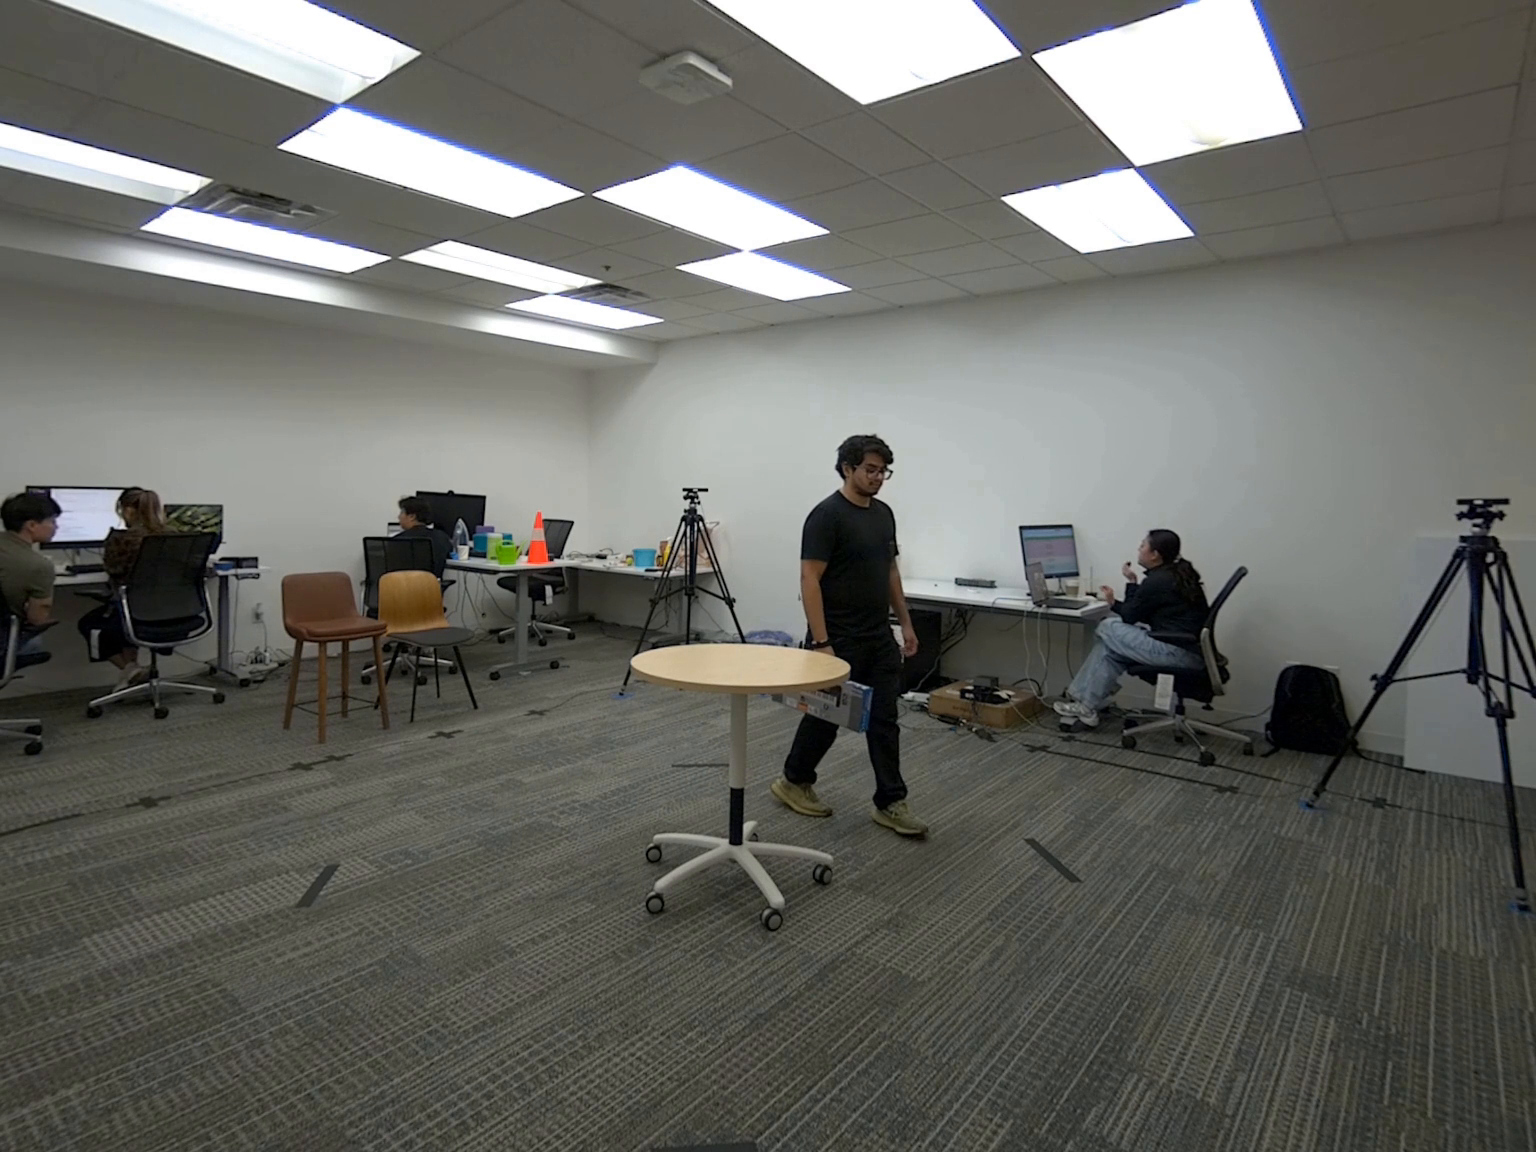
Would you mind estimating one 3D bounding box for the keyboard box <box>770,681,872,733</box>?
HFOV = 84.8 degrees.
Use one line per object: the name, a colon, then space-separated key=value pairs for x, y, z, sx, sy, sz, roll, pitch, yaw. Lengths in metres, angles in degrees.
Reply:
keyboard box: x=0.204 y=0.467 z=3.406 sx=0.453 sy=0.175 sz=0.057 roll=13 pitch=10 yaw=40
